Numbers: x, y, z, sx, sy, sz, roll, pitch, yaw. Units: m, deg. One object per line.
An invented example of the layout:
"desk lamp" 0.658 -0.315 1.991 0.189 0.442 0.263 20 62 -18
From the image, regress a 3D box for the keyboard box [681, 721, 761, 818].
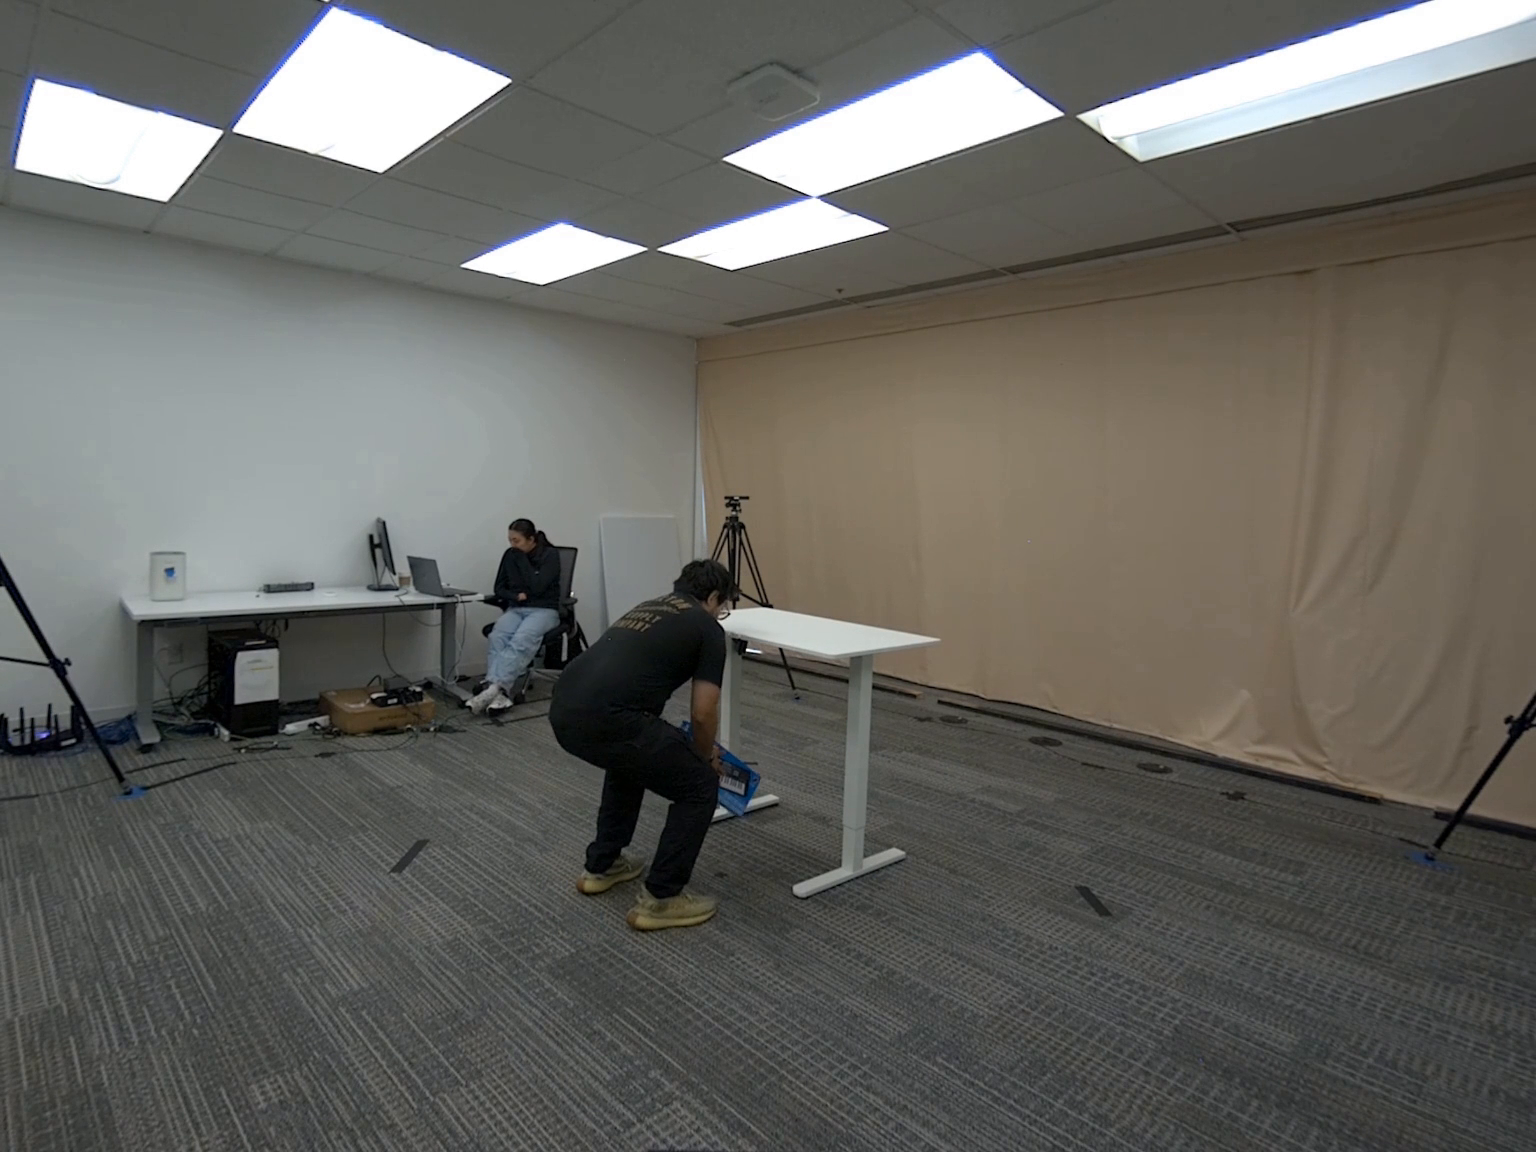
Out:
"keyboard box" -0.216 0.733 3.165 0.060 0.176 0.424 5 -33 52
